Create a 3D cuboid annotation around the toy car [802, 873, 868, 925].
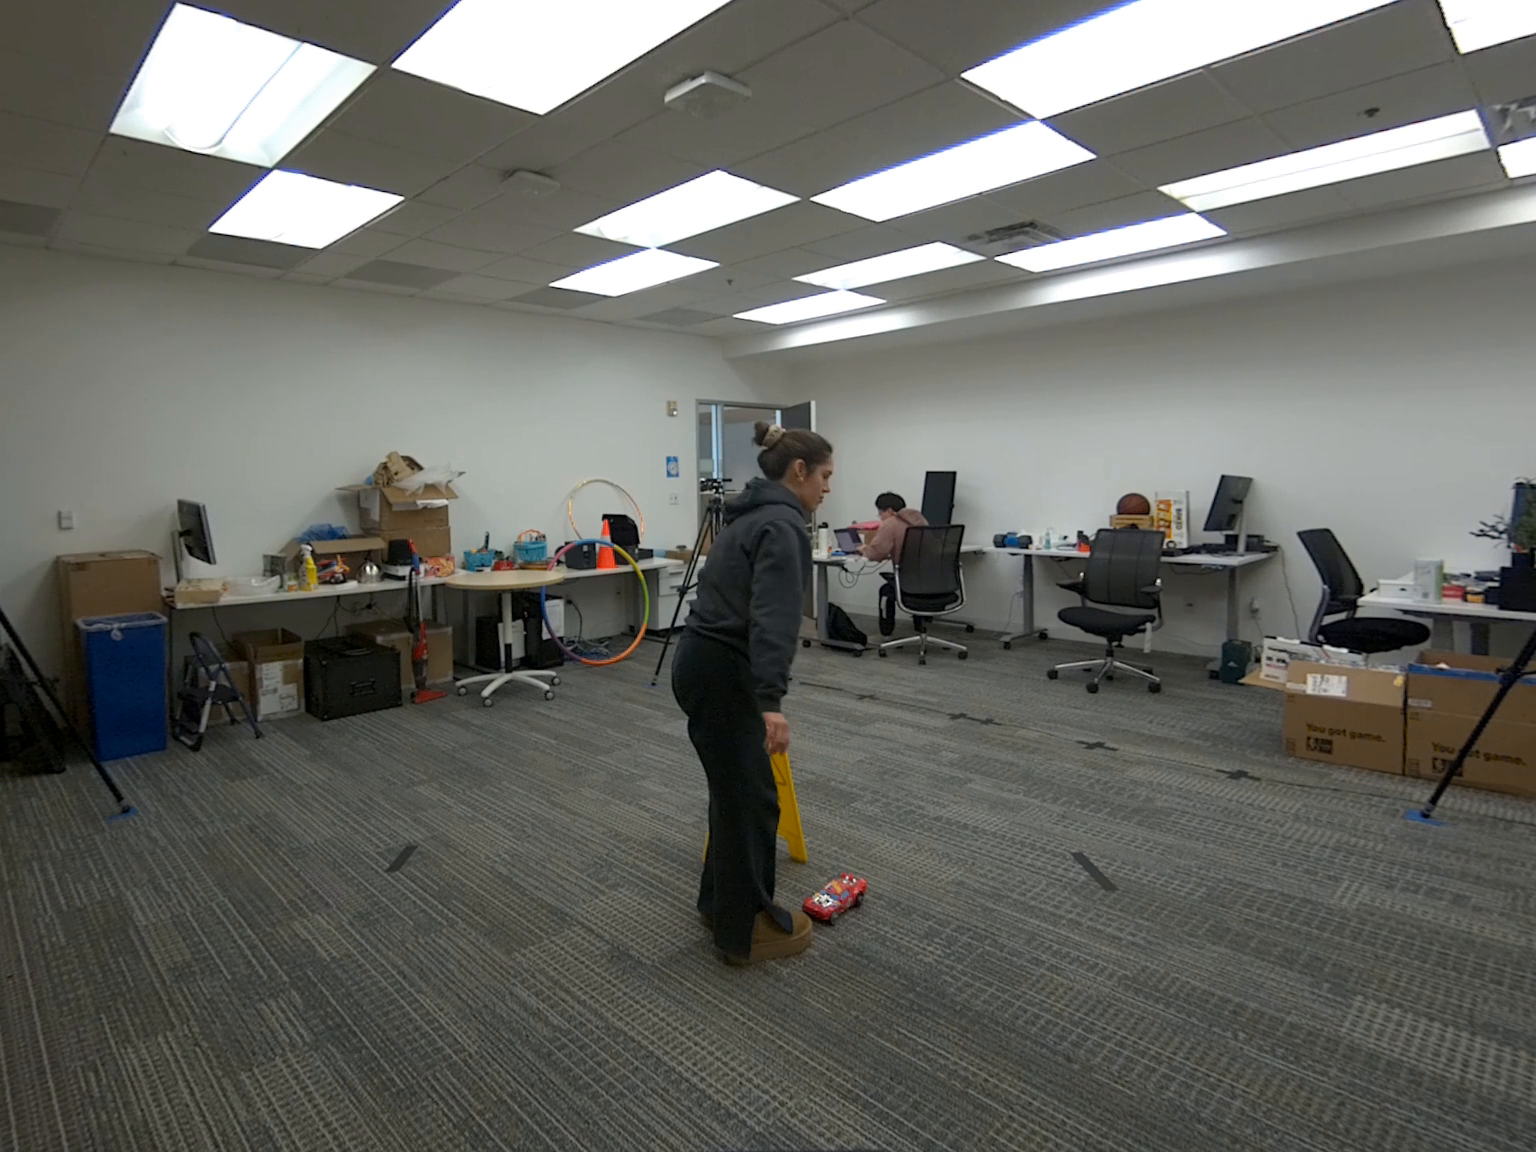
[{"bbox_3d":[0.228,1.046,2.764,0.134,0.082,0.250,5,20,41],"label":"toy car"}]
